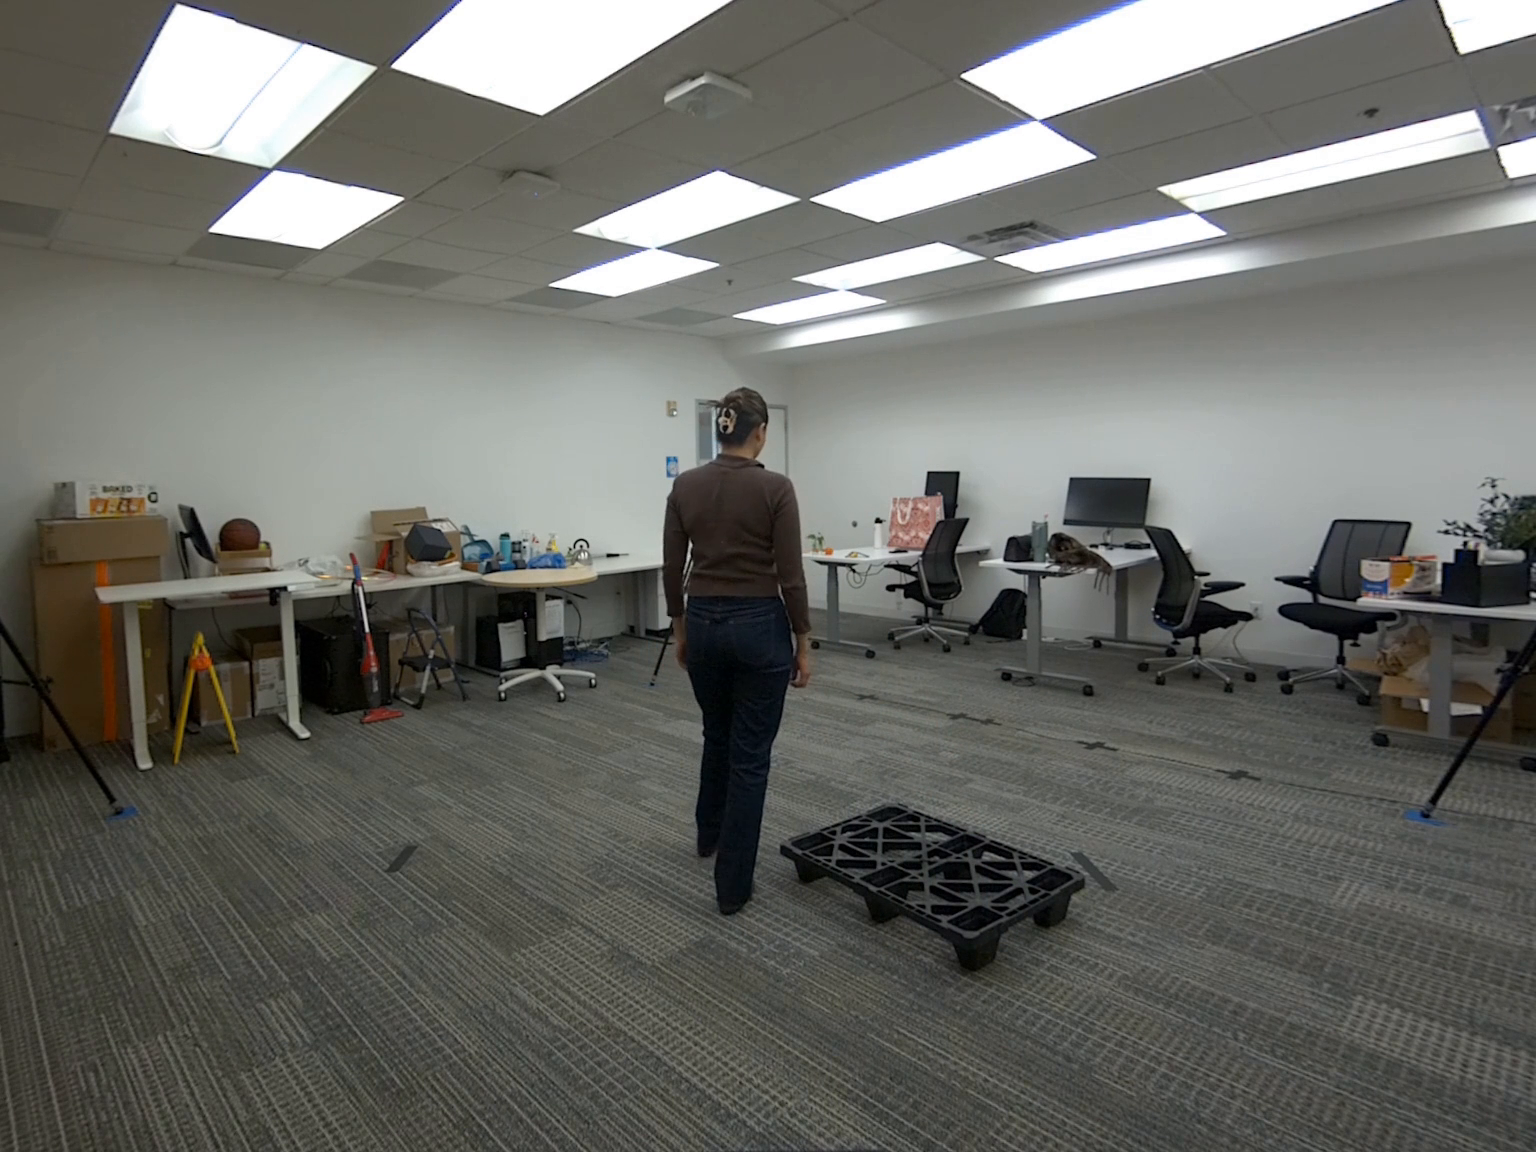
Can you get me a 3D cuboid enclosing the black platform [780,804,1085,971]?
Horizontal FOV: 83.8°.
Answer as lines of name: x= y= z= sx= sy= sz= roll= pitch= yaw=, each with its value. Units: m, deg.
black platform: x=0.521 y=1.000 z=2.823 sx=0.590 sy=0.142 sz=0.830 roll=-7 pitch=8 yaw=-38
